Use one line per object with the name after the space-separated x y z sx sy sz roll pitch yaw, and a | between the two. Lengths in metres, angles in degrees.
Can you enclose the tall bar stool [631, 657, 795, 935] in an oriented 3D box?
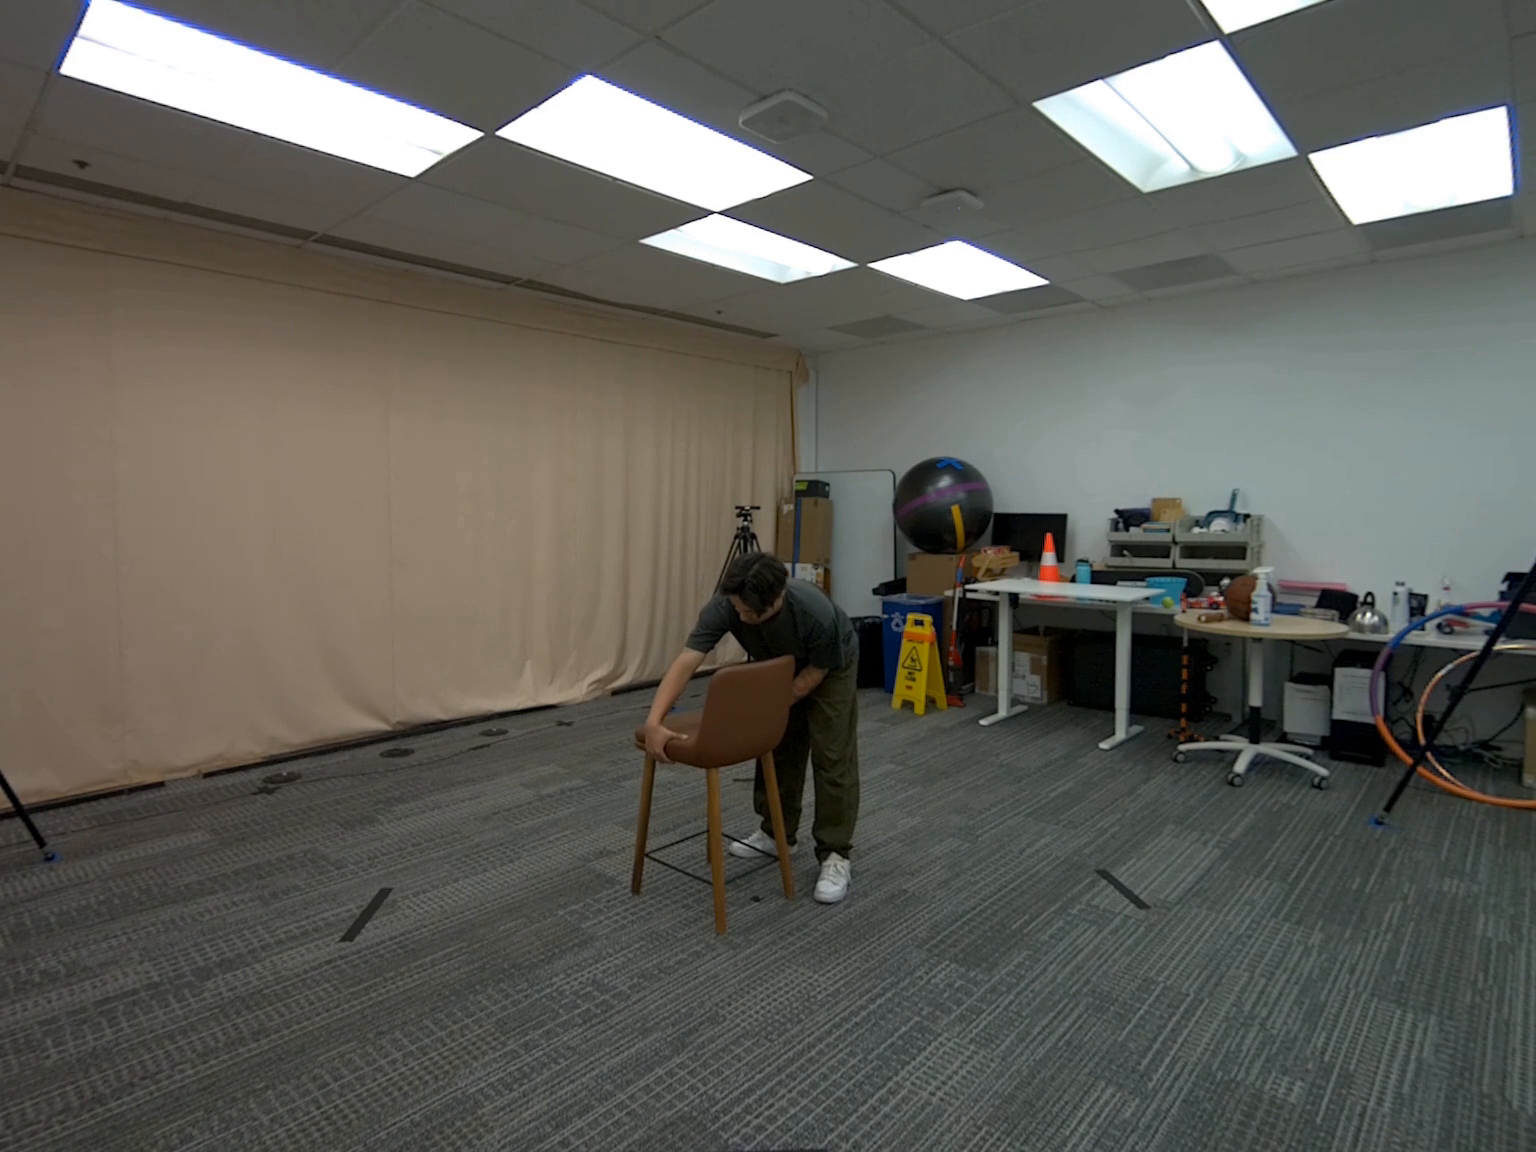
-0.197 0.708 2.987 0.483 0.887 0.442 4 5 43 | tall bar stool
